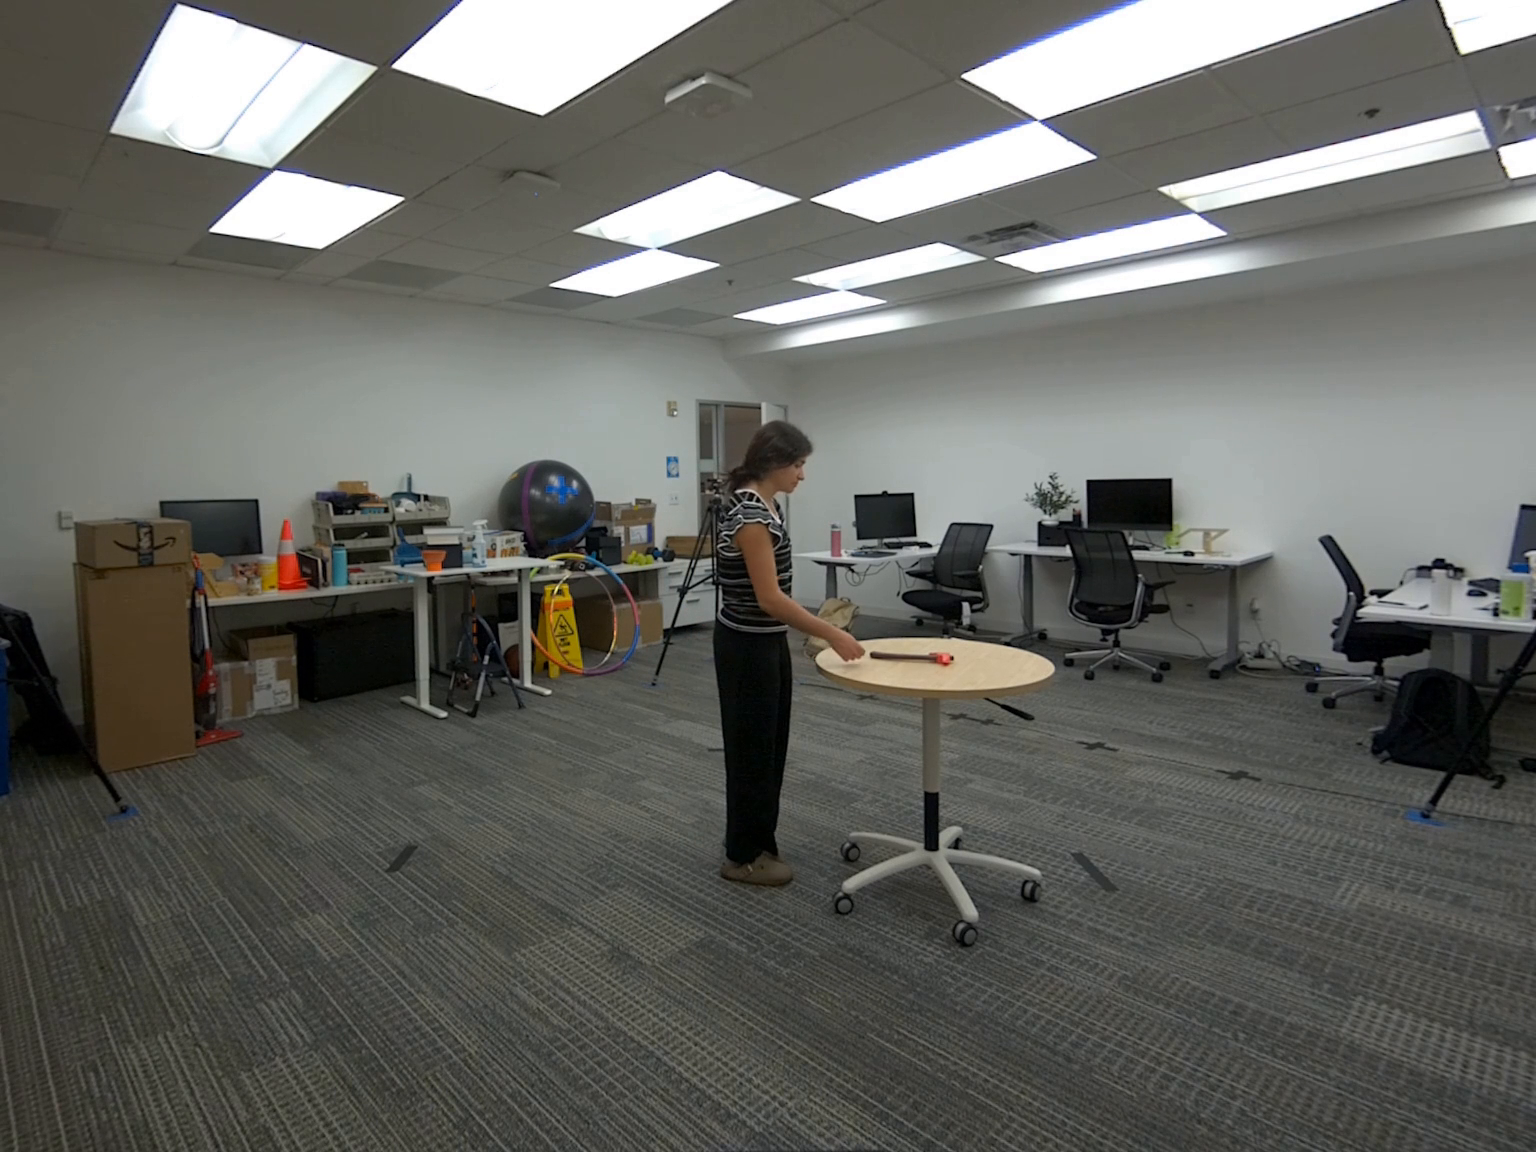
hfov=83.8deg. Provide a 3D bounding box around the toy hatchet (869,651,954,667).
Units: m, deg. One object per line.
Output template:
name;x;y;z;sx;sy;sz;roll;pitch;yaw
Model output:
toy hatchet;0.487;0.264;2.859;0.277;0.029;0.128;2;7;32
